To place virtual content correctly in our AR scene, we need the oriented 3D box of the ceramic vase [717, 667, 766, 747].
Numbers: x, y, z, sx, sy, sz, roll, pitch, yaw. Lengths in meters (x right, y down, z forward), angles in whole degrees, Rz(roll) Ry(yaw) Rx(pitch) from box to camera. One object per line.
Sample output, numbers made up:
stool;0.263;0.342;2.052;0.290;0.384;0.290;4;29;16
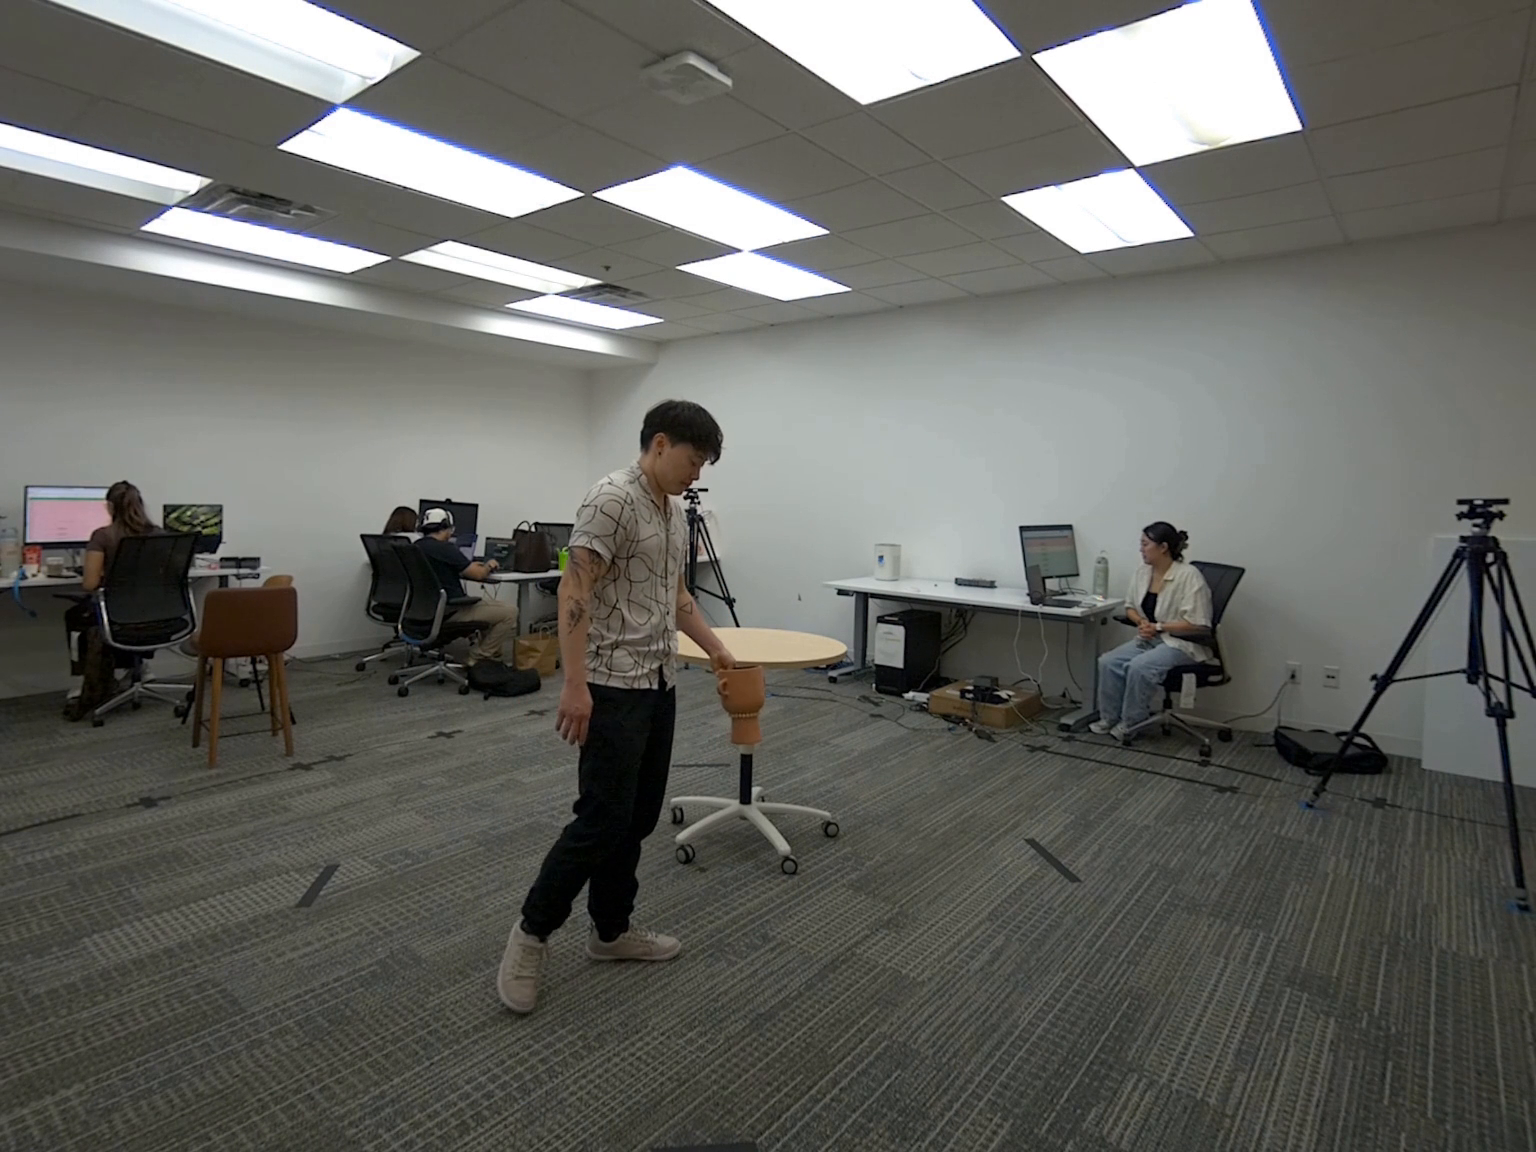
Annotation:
ceramic vase;-0.087;0.388;2.561;0.158;0.220;0.135;-5;-2;-6
